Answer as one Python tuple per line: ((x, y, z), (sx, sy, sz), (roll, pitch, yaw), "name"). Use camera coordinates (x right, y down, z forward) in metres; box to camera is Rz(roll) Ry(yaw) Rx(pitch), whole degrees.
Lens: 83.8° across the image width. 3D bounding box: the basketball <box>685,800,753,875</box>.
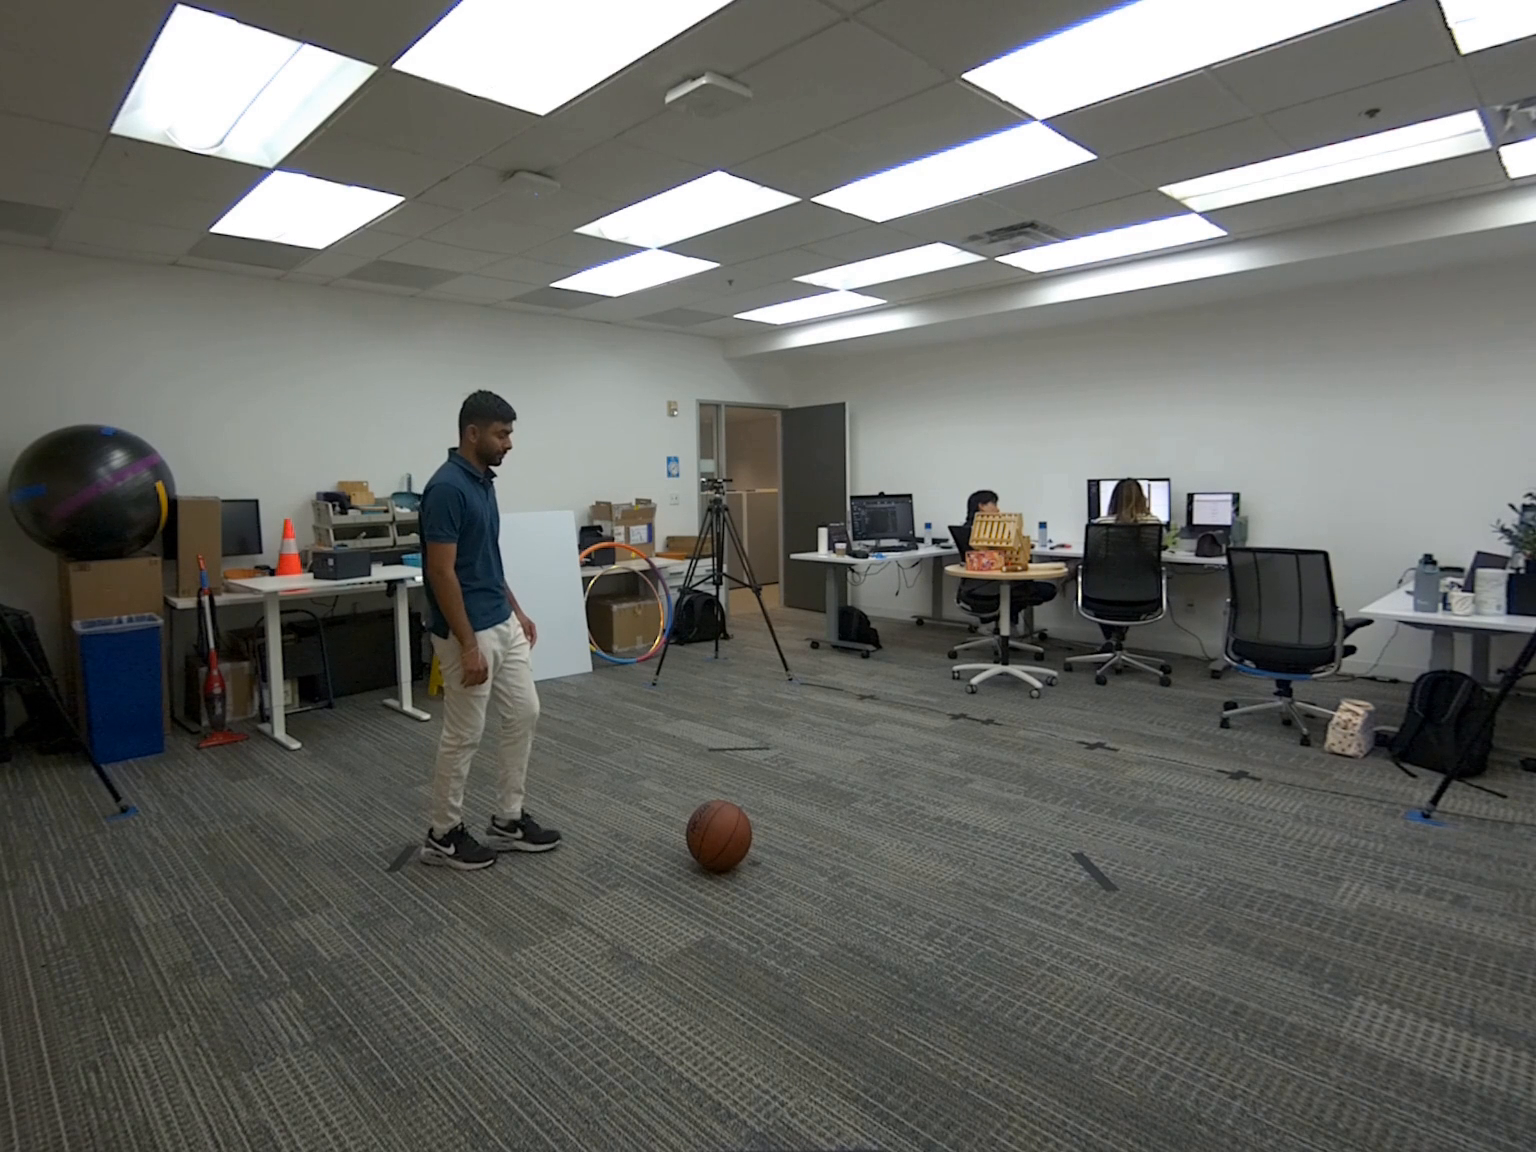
((-0.175, 0.926, 3.066), (0.236, 0.235, 0.237), (-1, 5, -2), "basketball")
